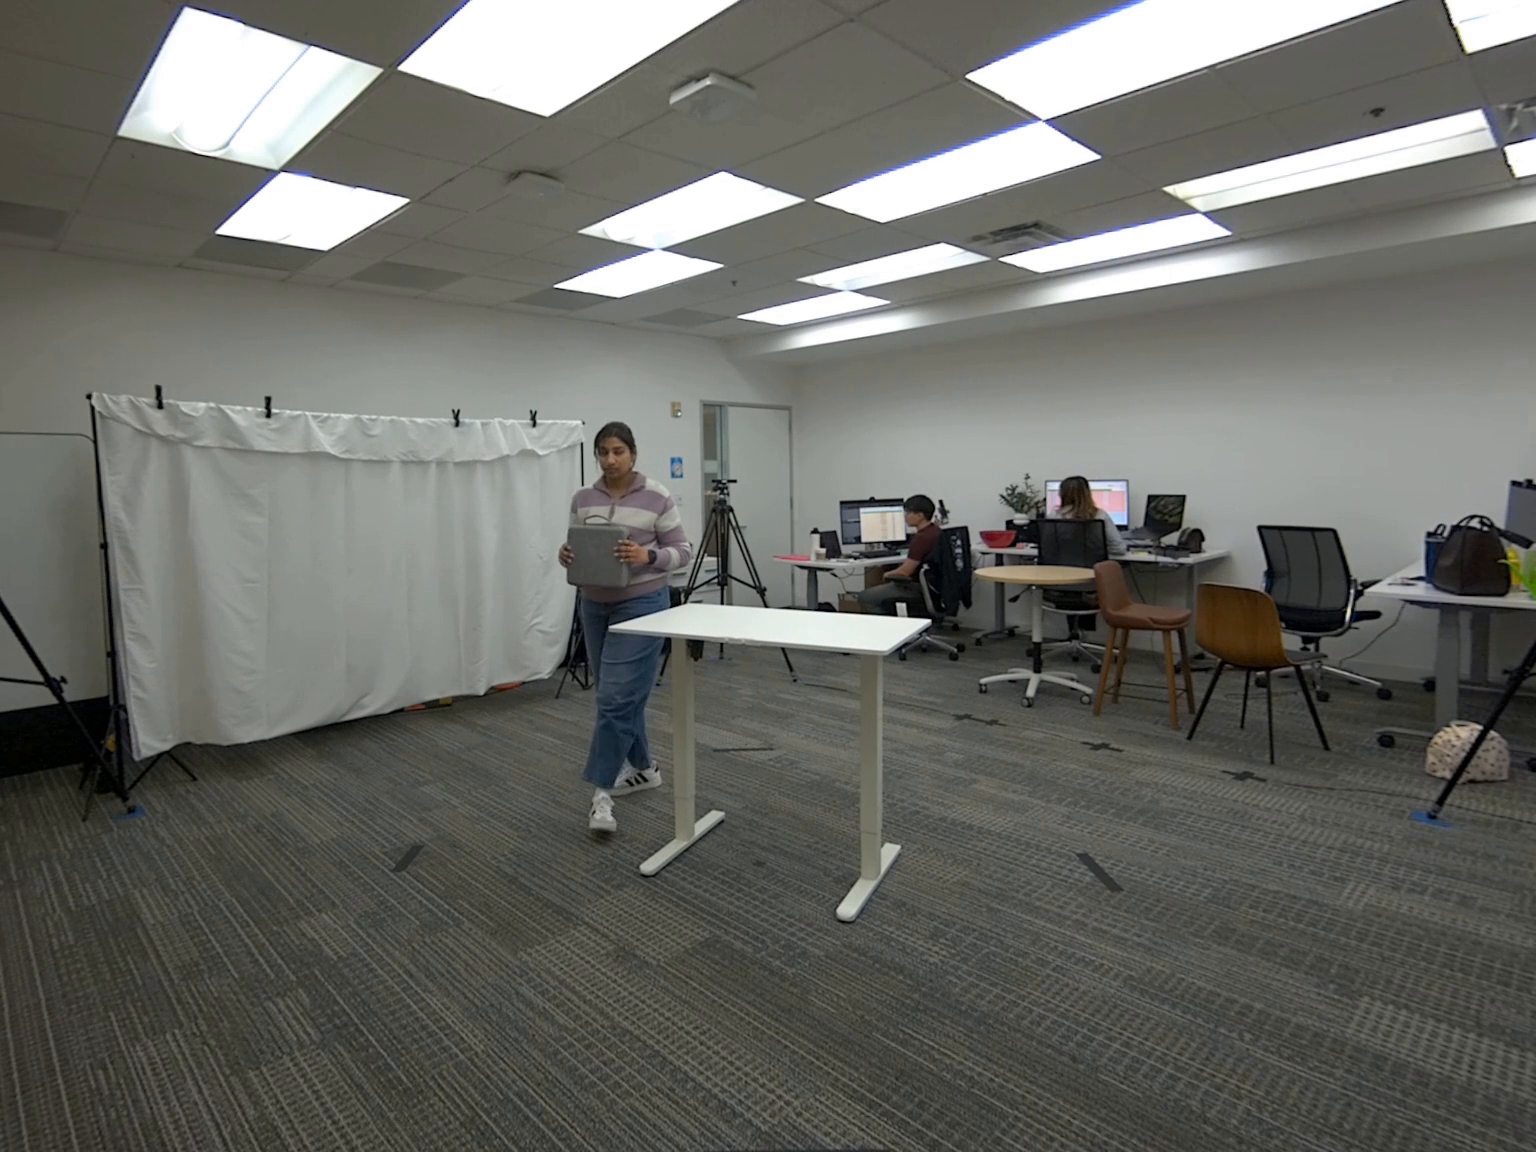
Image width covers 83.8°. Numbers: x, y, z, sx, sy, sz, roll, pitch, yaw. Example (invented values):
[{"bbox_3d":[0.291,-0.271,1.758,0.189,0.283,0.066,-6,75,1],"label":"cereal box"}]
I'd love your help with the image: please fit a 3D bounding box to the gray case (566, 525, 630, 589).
[{"bbox_3d":[-0.702,-0.080,3.477,0.259,0.259,0.104,0,6,10],"label":"gray case"}]
